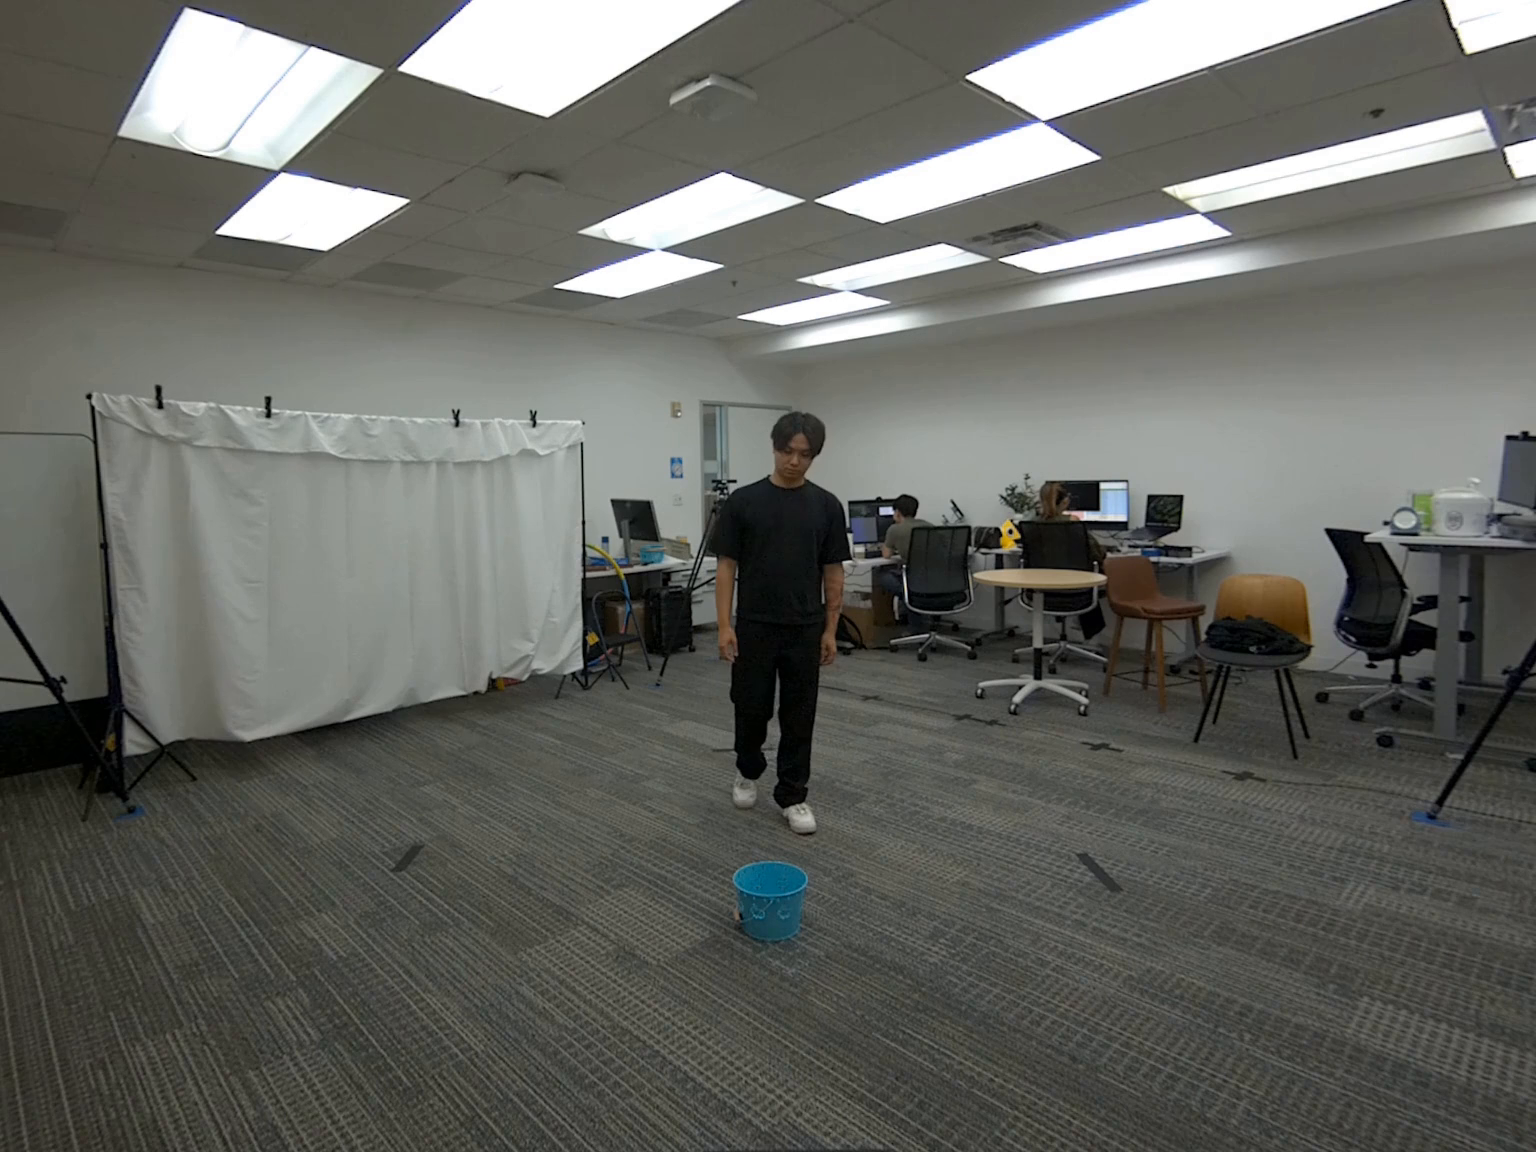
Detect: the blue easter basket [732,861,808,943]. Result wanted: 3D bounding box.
[{"bbox_3d":[0.013,1.023,2.669,0.243,0.155,0.245,-1,6,-2],"label":"blue easter basket"}]
